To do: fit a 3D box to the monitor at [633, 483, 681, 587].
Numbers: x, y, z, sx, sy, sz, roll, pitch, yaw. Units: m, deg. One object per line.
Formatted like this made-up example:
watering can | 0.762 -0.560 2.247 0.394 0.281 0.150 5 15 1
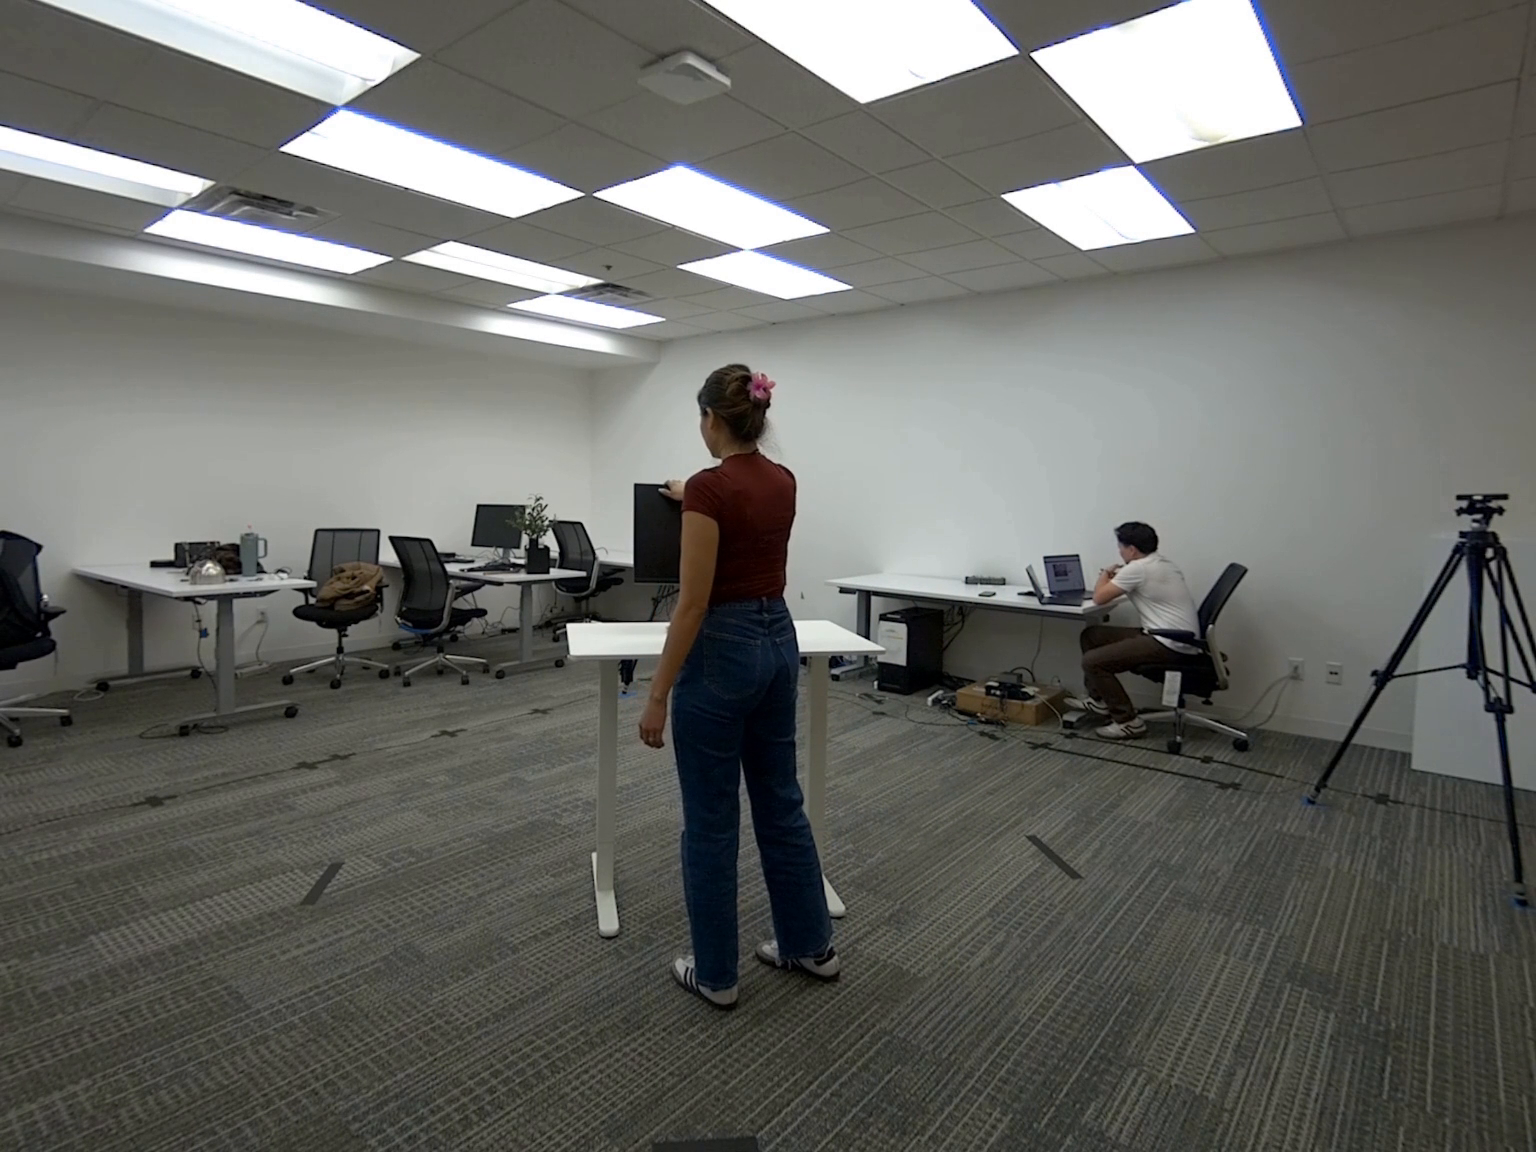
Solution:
monitor | -0.220 -0.058 2.994 0.531 0.522 0.190 1 0 -14
